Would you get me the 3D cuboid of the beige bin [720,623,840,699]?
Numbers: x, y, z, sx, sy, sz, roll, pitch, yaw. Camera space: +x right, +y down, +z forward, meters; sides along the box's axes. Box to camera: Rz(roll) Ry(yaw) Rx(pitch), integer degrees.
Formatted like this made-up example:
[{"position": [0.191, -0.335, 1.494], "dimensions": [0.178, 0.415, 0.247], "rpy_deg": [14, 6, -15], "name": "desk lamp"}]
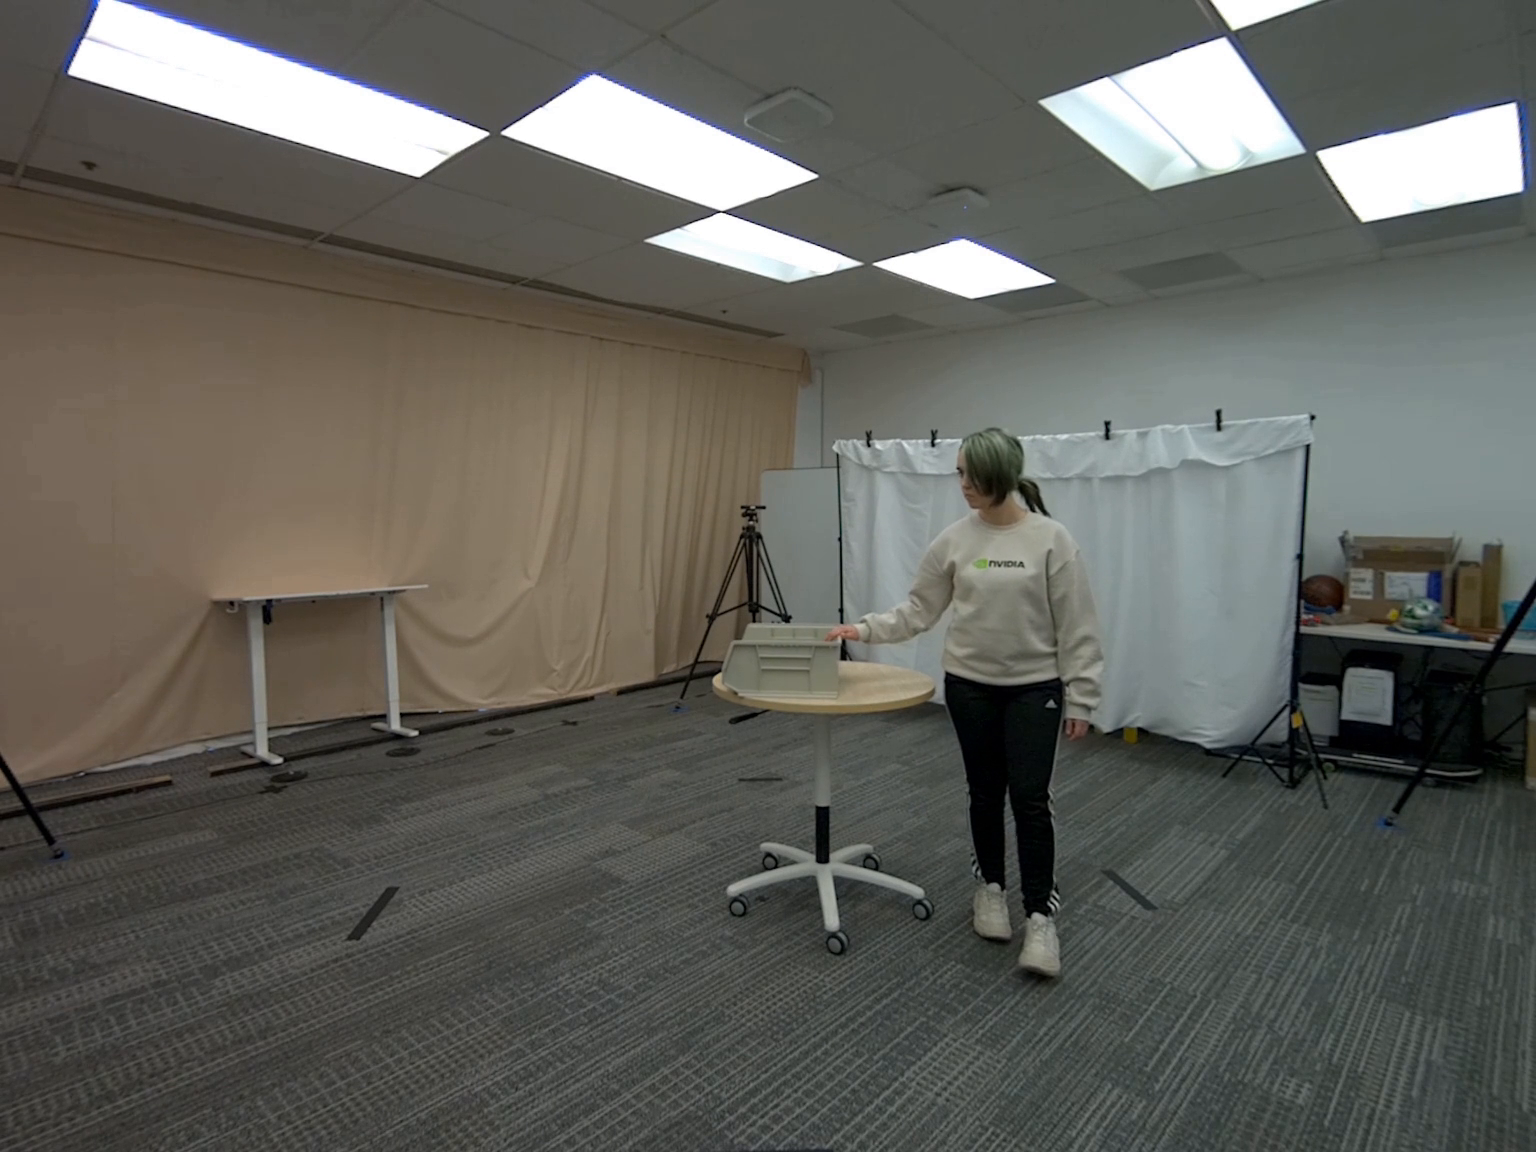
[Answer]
[{"position": [0.067, 0.277, 2.860], "dimensions": [0.380, 0.189, 0.420], "rpy_deg": [2, 3, 6], "name": "beige bin"}]
